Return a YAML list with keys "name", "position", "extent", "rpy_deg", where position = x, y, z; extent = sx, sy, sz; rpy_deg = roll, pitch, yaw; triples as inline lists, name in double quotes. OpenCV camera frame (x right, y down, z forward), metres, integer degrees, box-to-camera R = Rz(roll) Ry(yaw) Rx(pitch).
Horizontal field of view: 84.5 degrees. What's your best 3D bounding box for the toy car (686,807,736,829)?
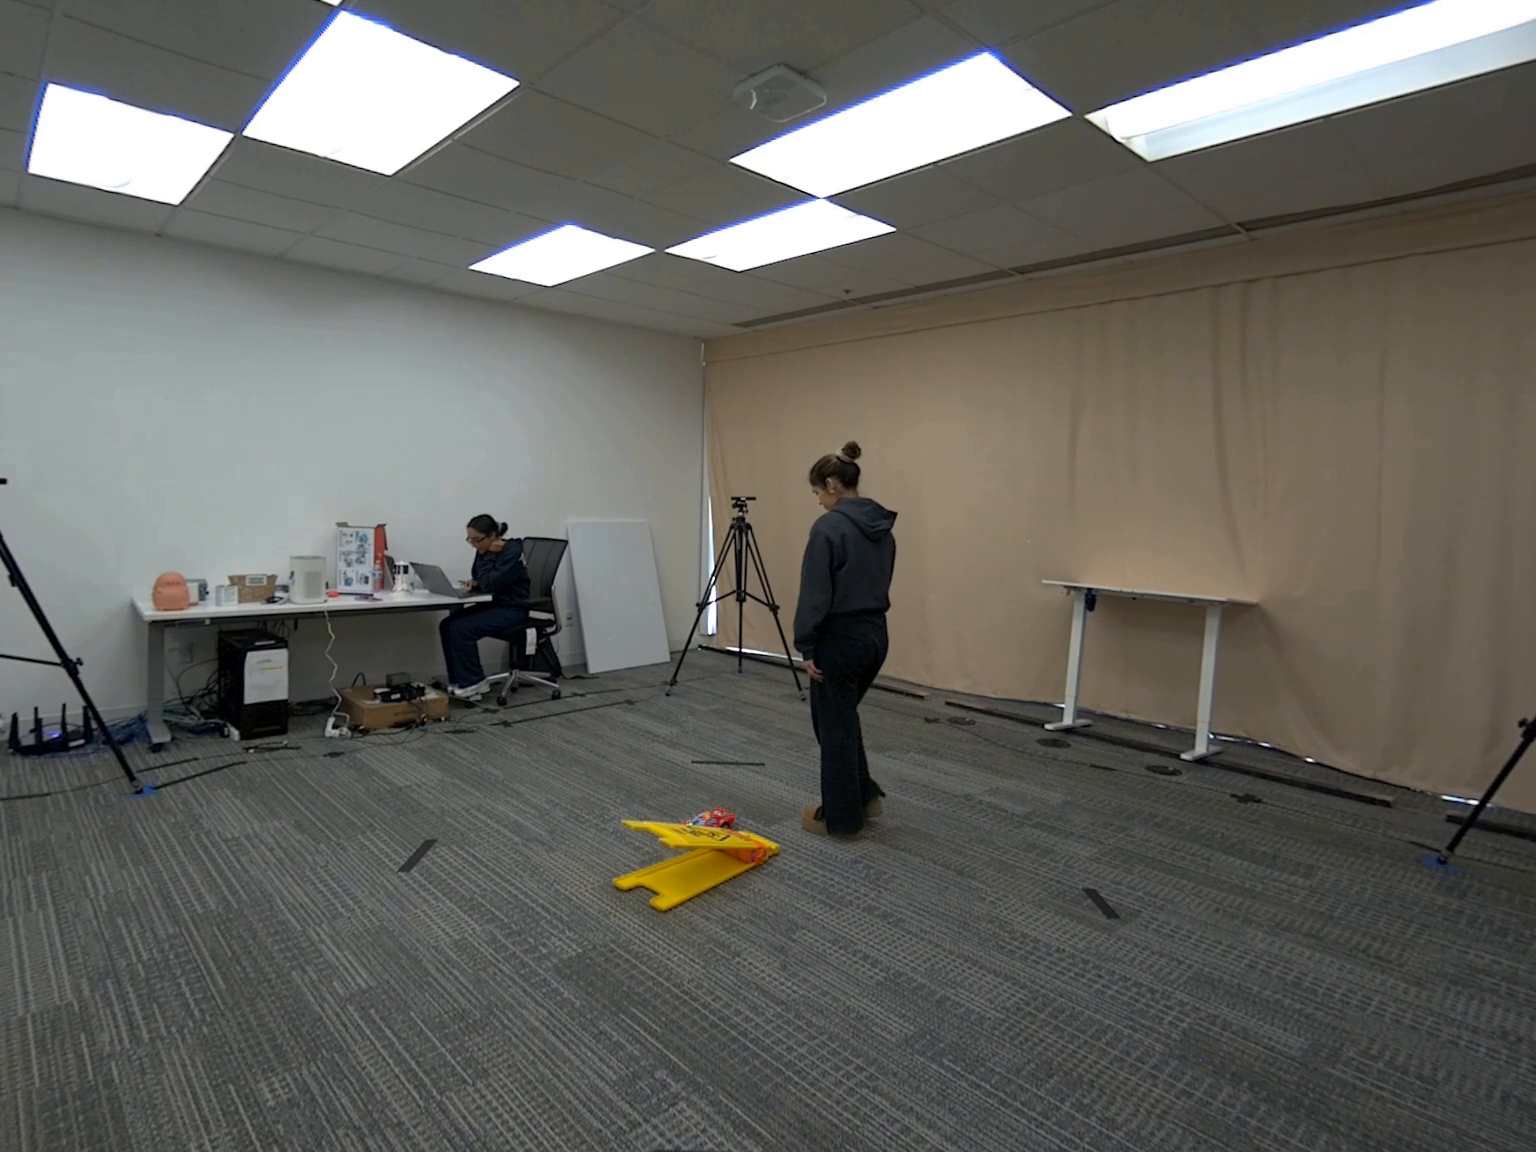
- name: "toy car"
  position: [-0.266, 1.036, 3.520]
  extent: [0.250, 0.082, 0.134]
  rpy_deg: [-17, 15, -39]
